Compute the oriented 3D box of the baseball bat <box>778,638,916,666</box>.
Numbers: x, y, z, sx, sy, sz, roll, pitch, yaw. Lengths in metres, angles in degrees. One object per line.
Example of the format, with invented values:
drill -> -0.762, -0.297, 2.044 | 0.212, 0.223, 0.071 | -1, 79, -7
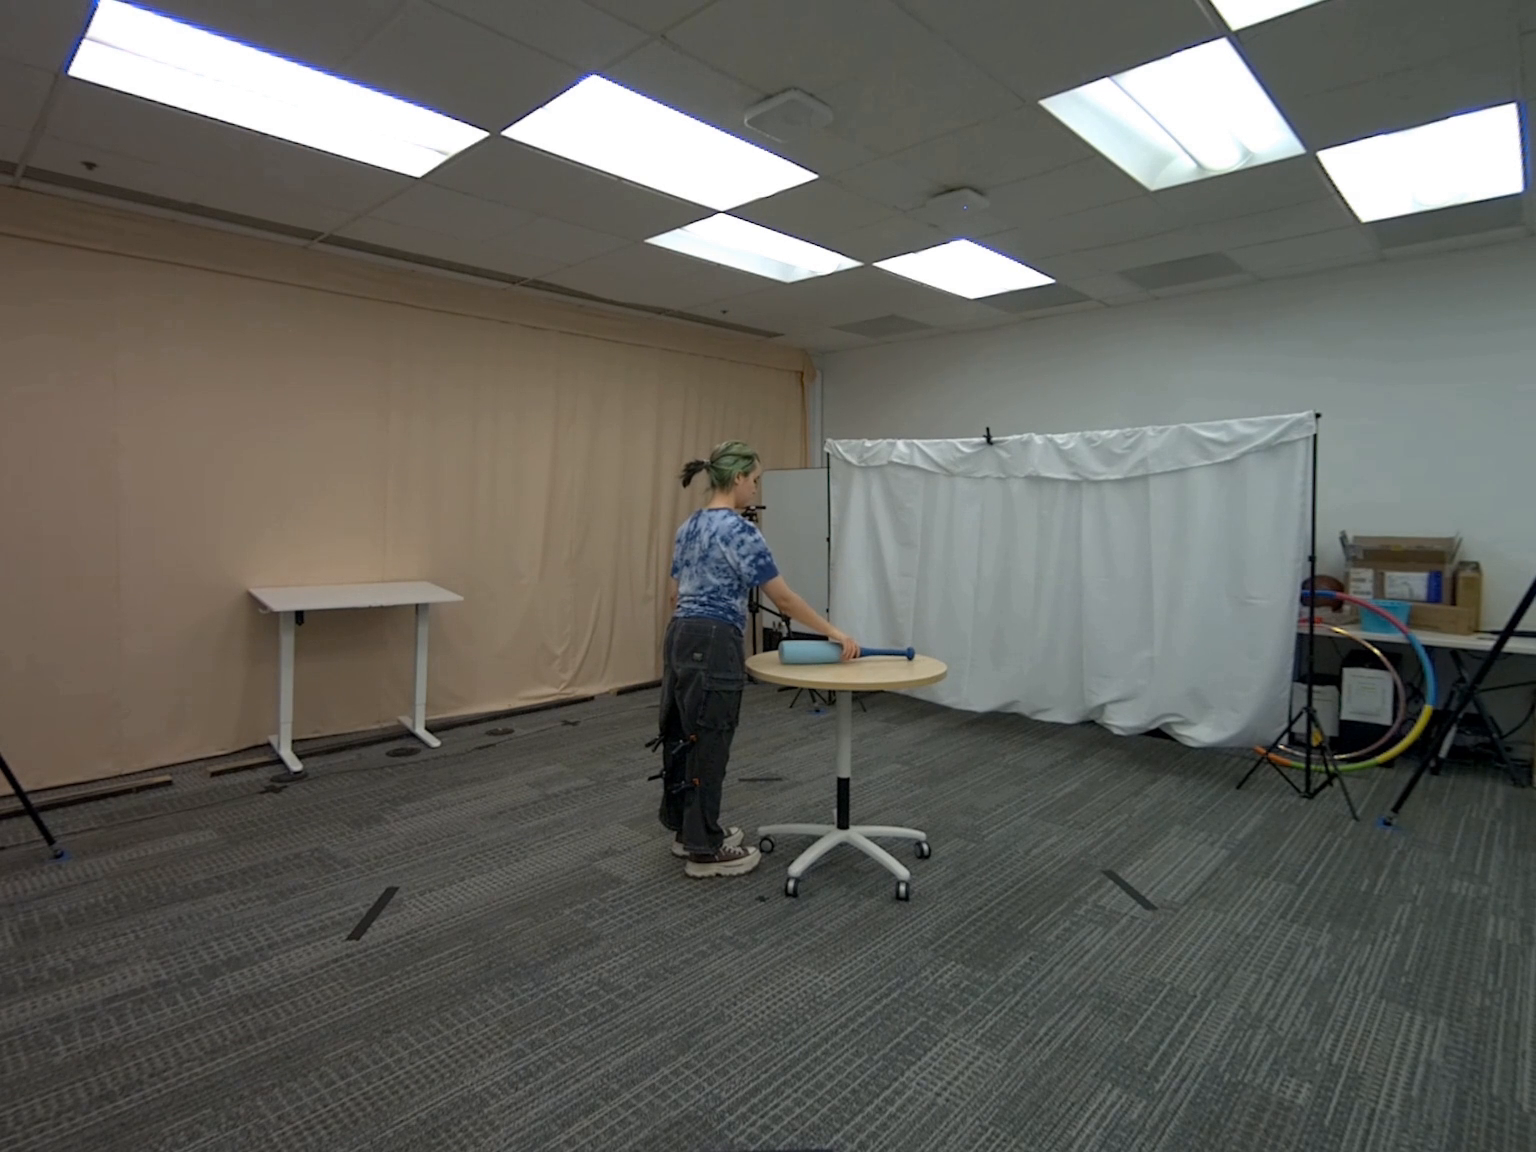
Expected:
baseball bat -> 0.314, 0.299, 3.256 | 0.537, 0.089, 0.090 | 1, 3, -10
